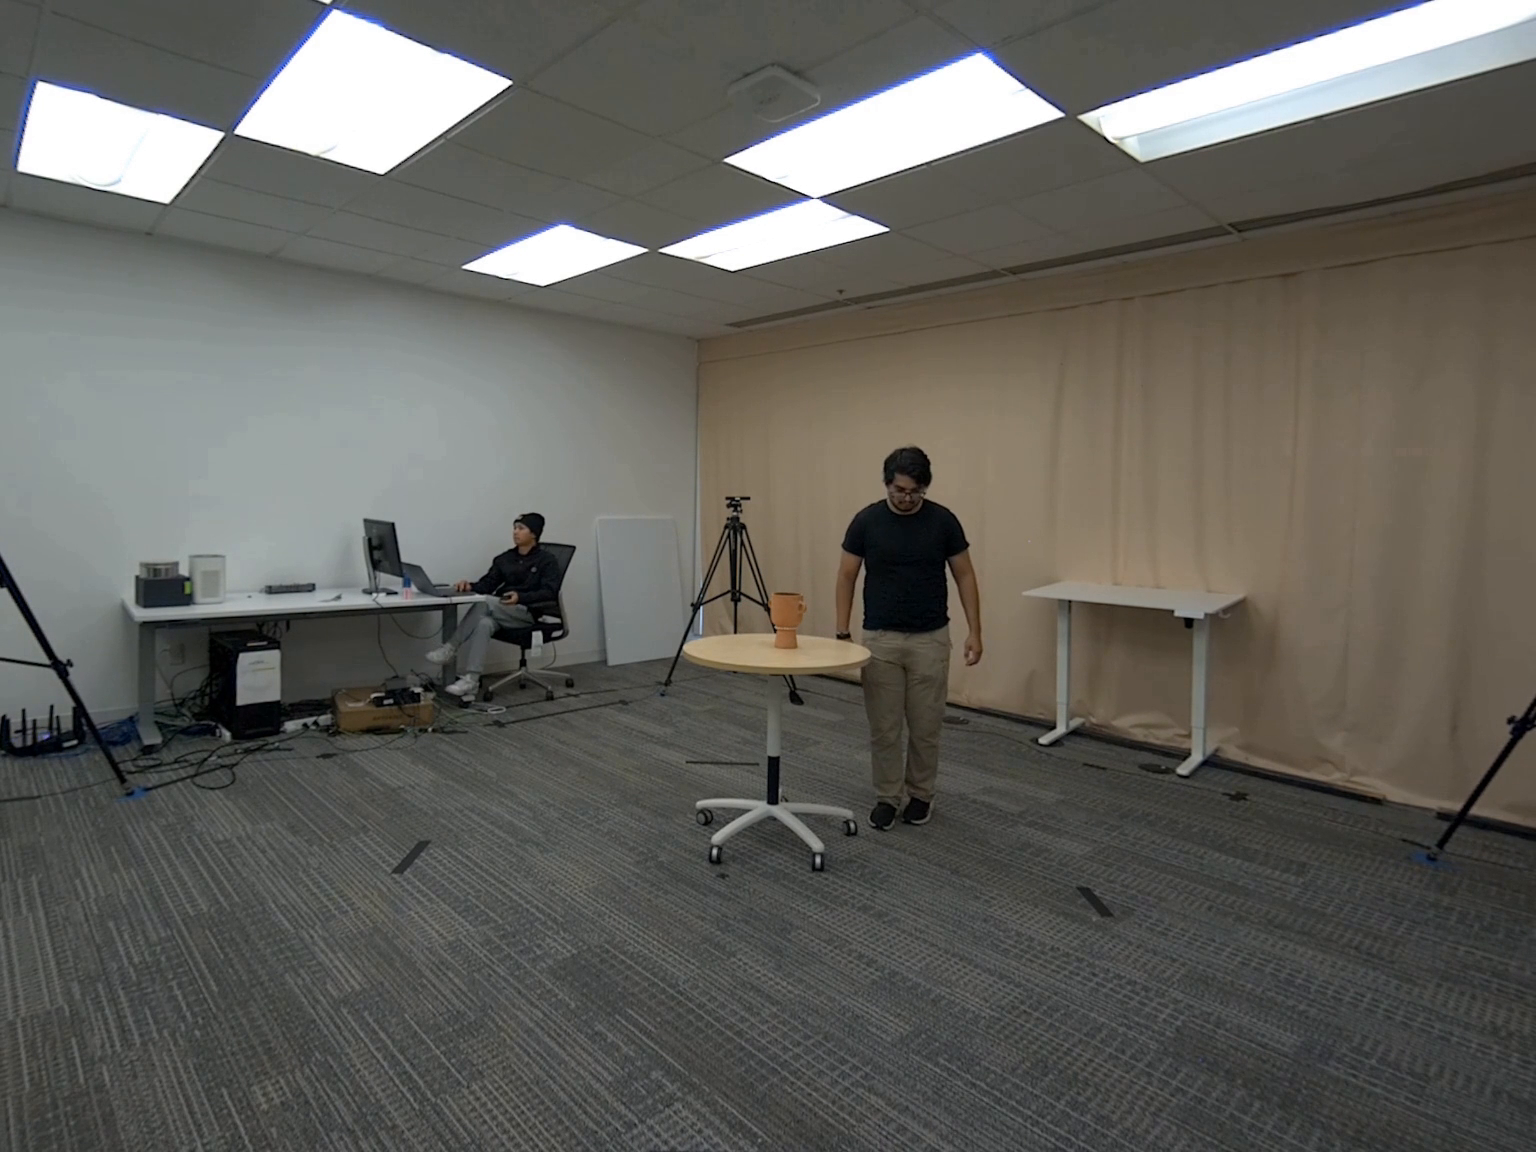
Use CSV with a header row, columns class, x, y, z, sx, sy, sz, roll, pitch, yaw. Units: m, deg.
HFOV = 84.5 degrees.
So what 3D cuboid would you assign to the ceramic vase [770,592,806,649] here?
class,x,y,z,sx,sy,sz,roll,pitch,yaw
ceramic vase,0.071,0.186,3.494,0.133,0.219,0.160,1,4,-10
